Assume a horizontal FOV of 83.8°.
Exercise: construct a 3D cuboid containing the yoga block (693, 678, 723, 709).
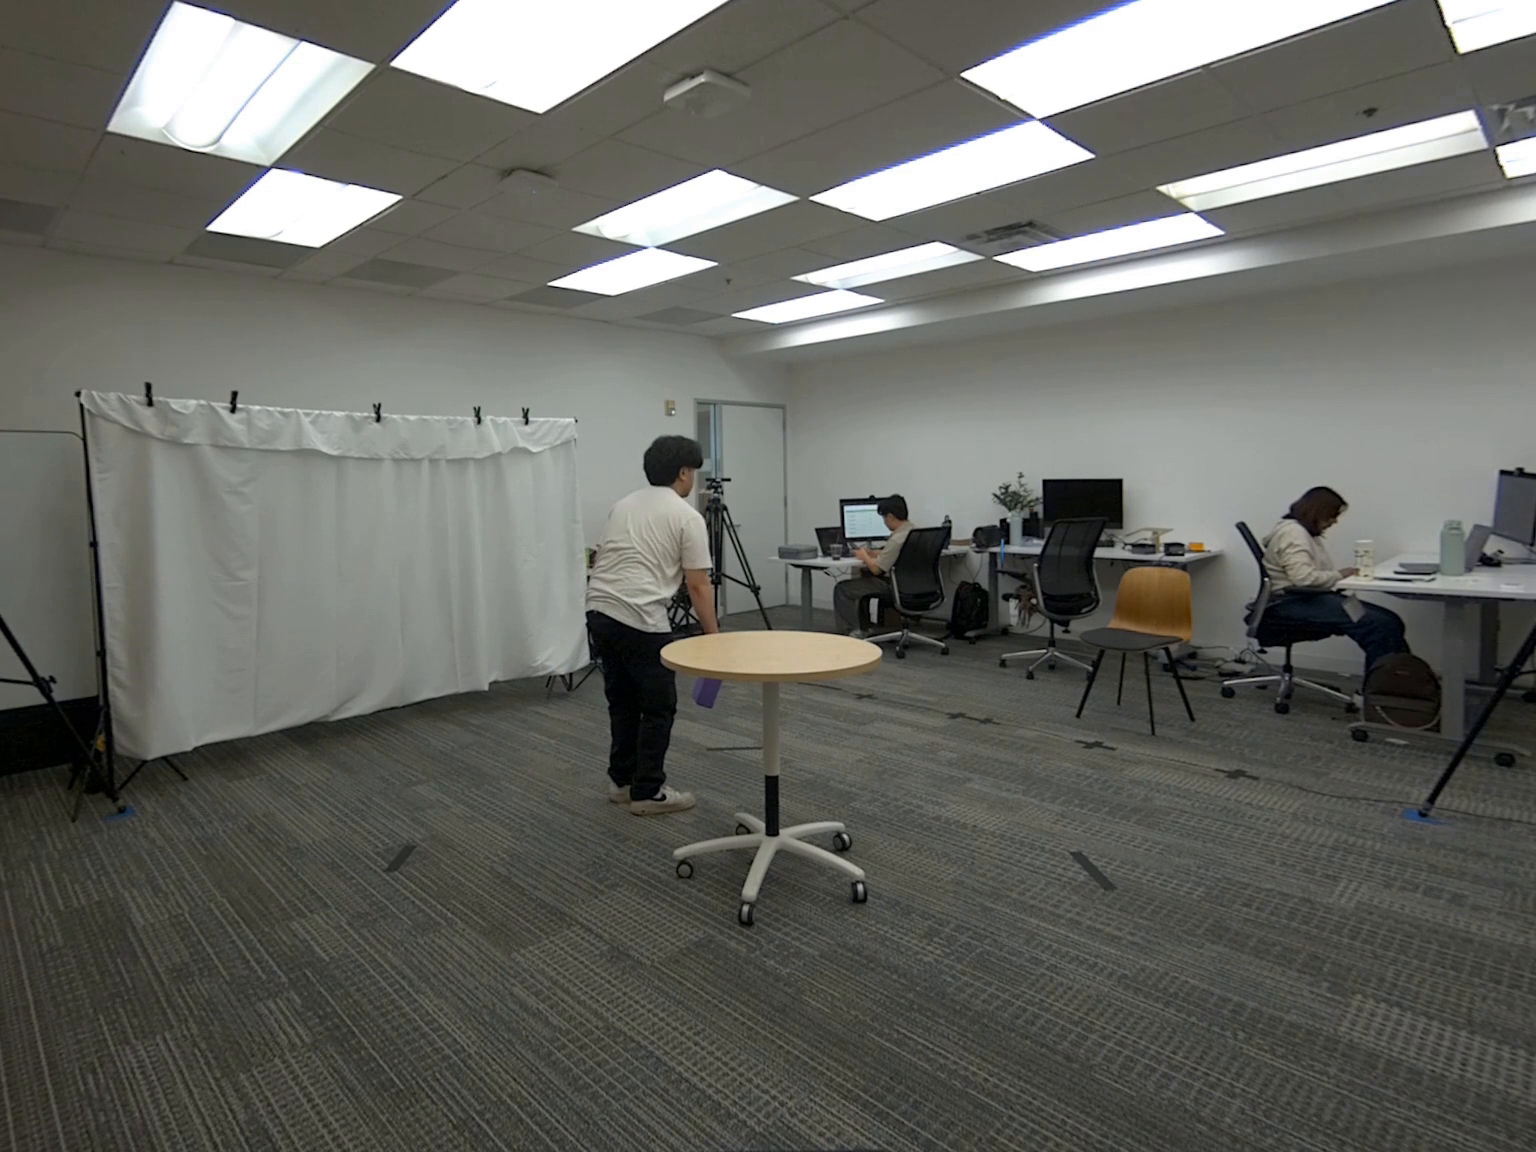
[{"bbox_3d":[-0.257,0.444,3.701,0.076,0.229,0.150,20,1,-5],"label":"yoga block"}]
